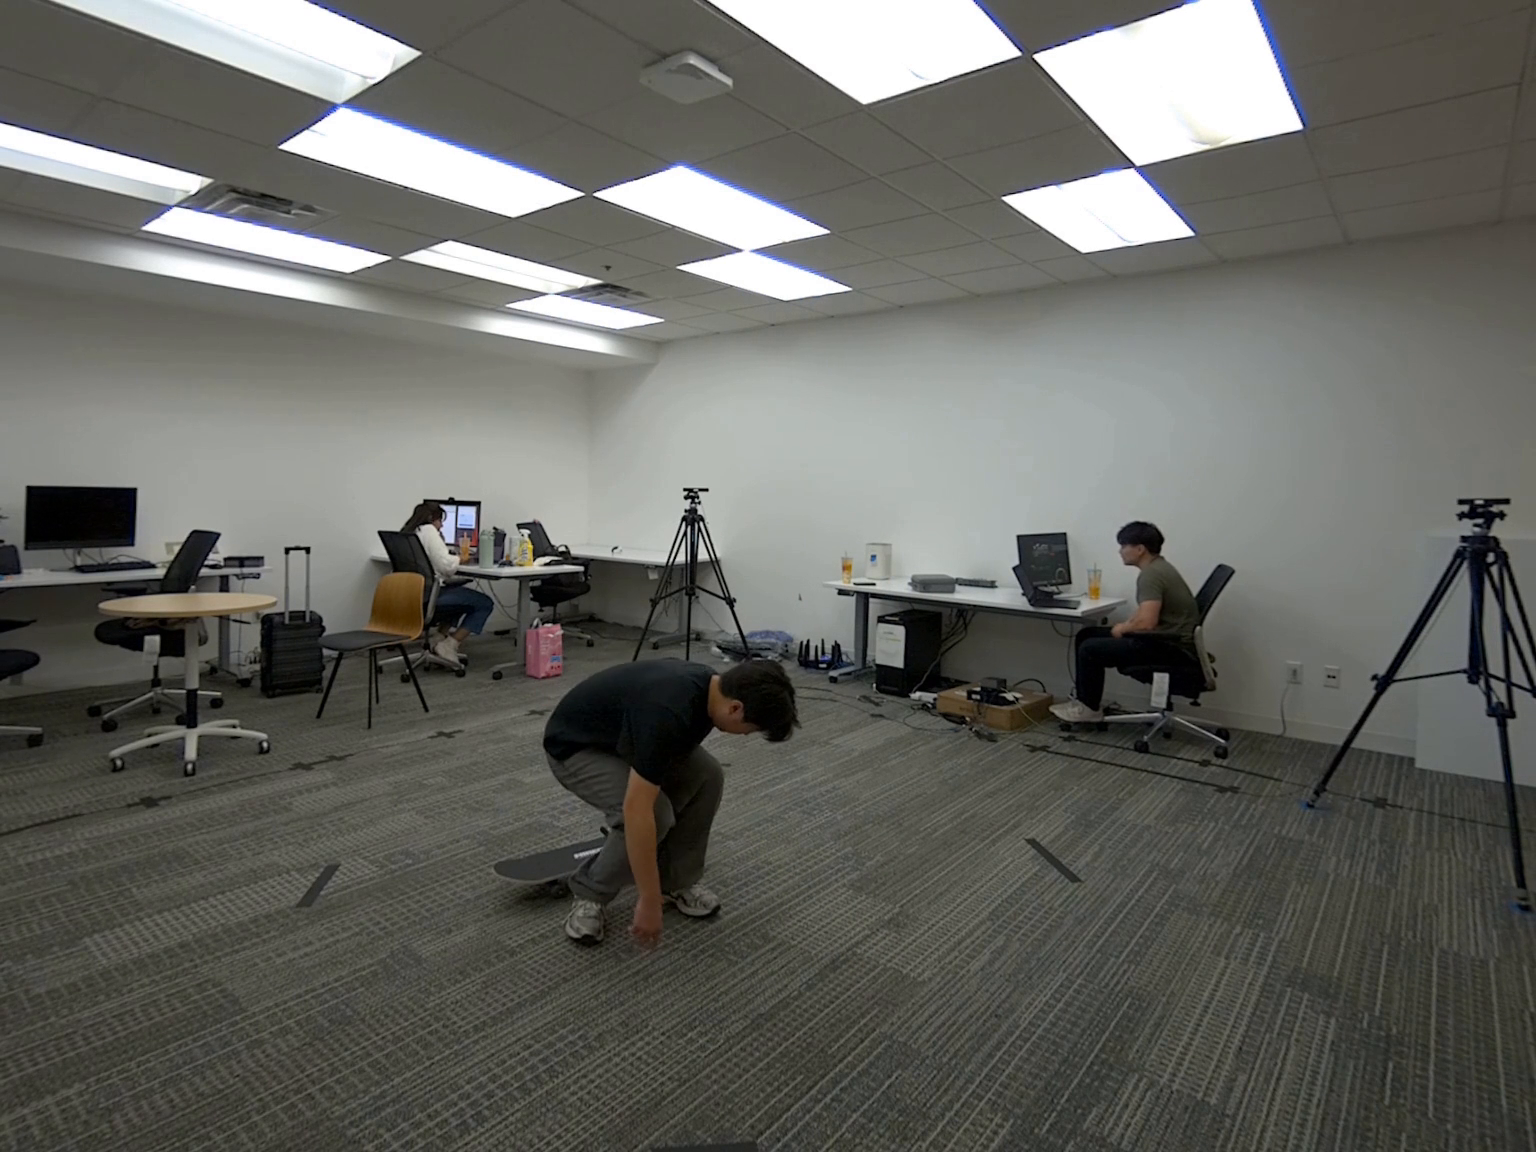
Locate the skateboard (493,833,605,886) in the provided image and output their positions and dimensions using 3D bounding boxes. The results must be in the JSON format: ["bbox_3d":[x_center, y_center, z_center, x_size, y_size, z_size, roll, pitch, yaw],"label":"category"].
[{"bbox_3d":[-0.608,1.009,3.042,0.762,0.110,0.200,-3,6,-37],"label":"skateboard"}]
